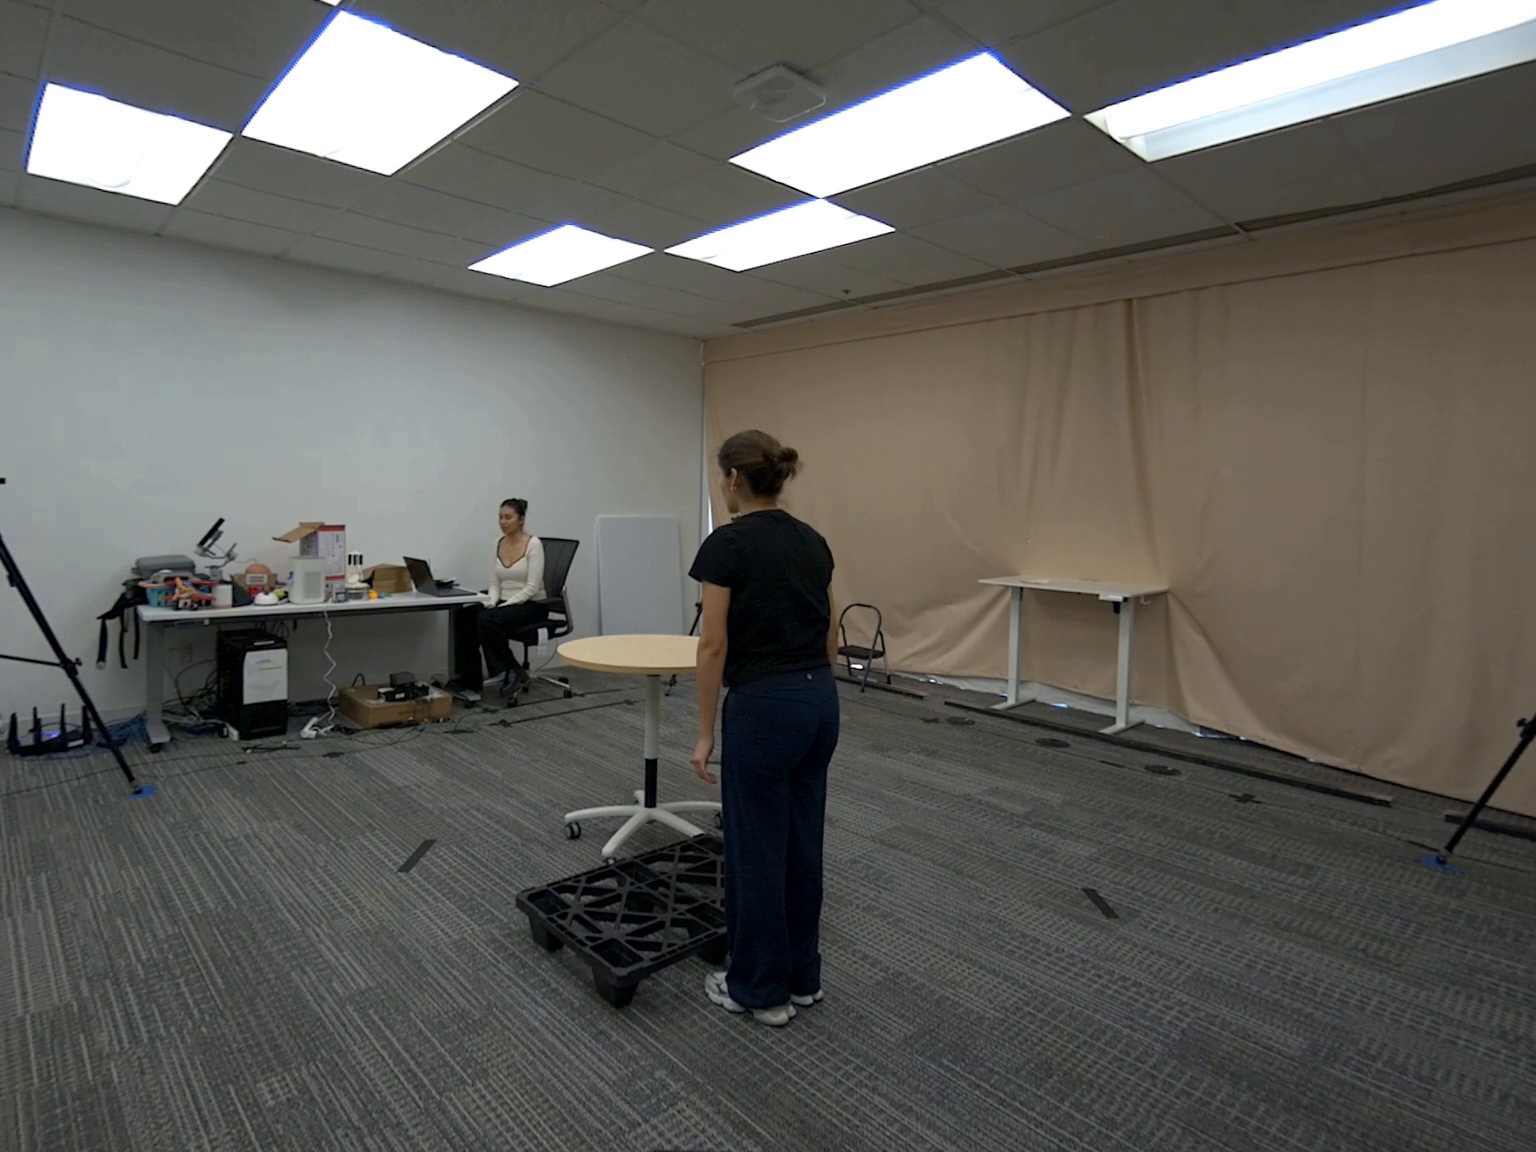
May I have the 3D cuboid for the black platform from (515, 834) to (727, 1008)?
[{"bbox_3d":[-0.306,1.079,2.679,0.787,0.143,0.621,-4,8,-43],"label":"black platform"}]
